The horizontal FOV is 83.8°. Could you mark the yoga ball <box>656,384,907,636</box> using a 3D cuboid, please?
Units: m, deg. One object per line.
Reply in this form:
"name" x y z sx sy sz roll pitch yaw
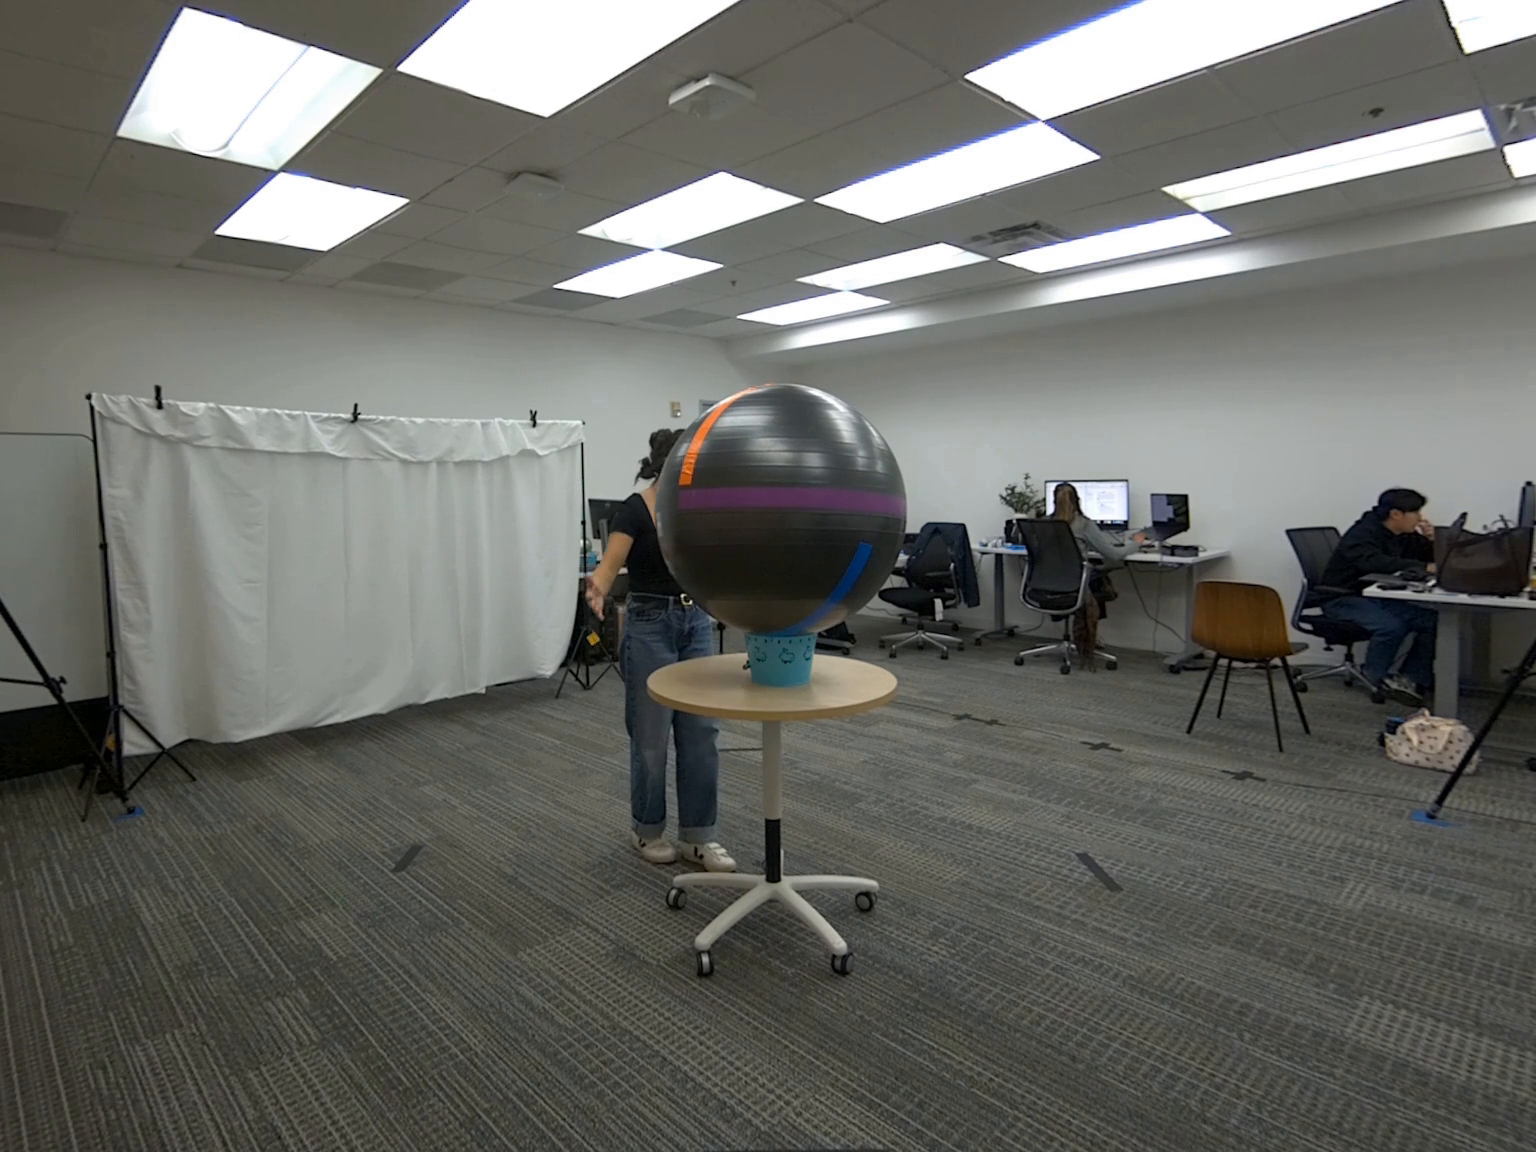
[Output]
"yoga ball" 0.041 -0.194 2.577 0.757 0.755 0.762 -1 5 -2
